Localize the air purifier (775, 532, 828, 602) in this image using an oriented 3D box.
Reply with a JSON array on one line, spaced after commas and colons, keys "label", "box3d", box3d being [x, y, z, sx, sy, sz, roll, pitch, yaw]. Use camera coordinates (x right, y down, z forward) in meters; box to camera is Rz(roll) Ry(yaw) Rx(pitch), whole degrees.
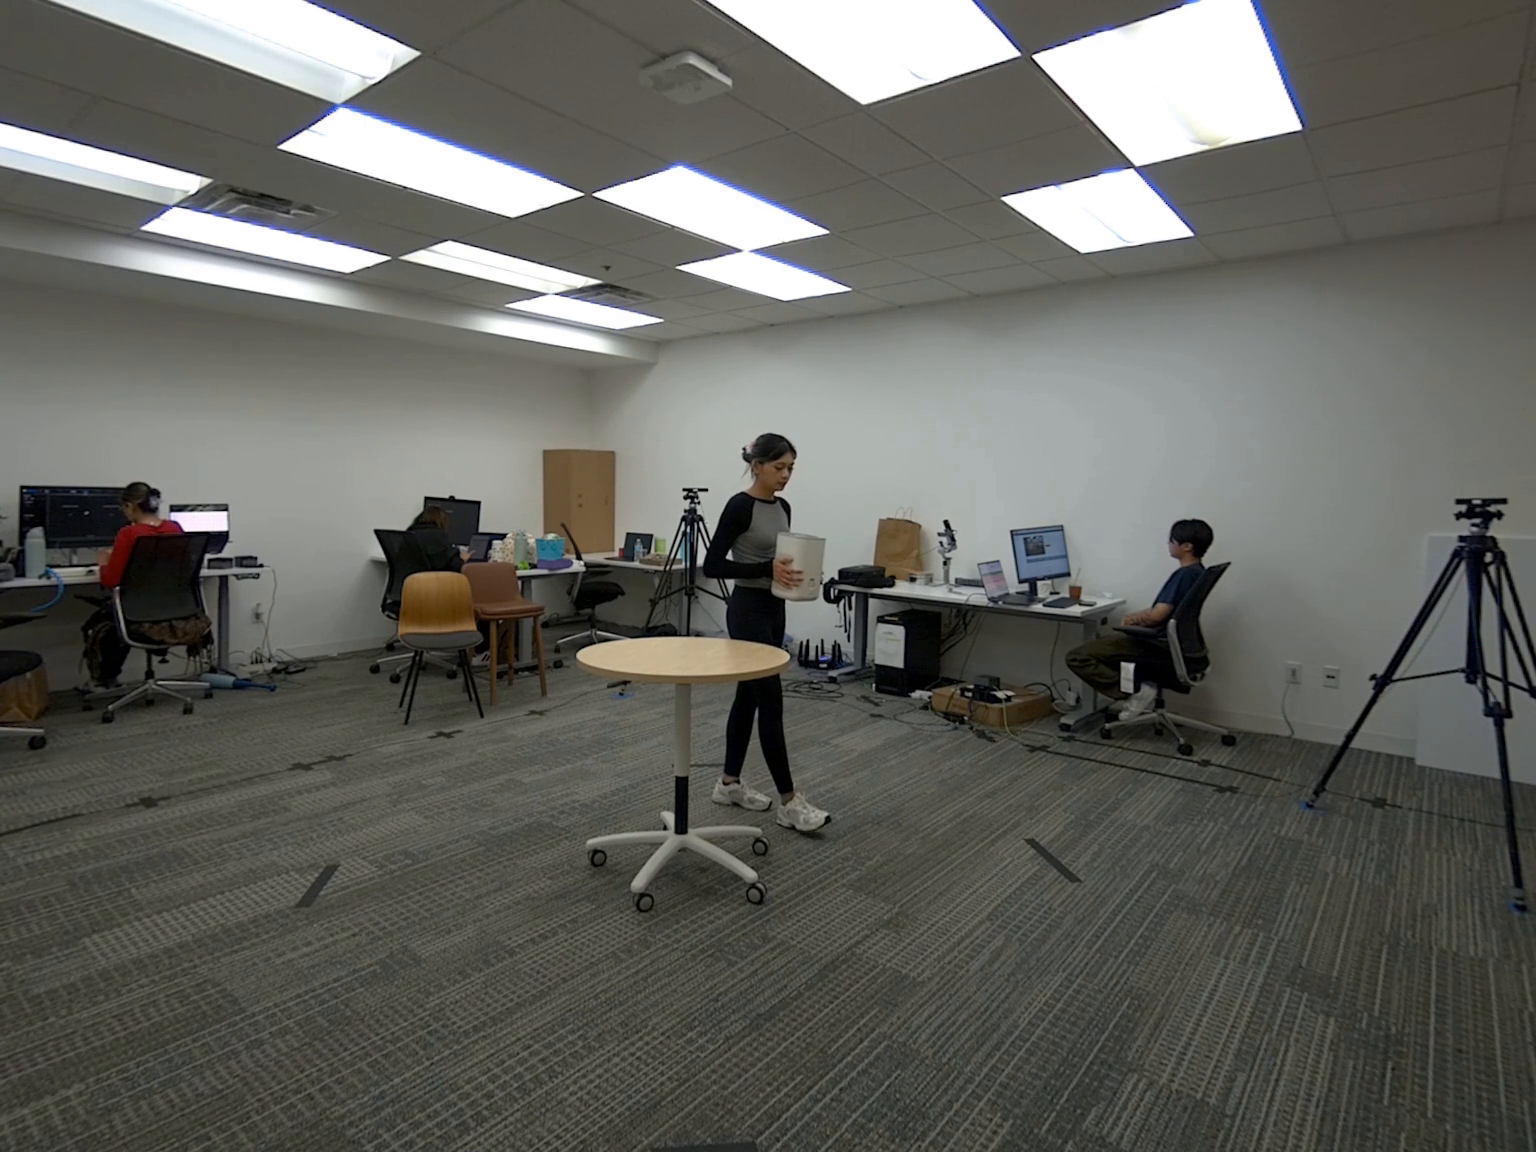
[{"label": "air purifier", "box3d": [0.113, -0.044, 3.508, 0.165, 0.264, 0.178, 1, 7, -45]}]
